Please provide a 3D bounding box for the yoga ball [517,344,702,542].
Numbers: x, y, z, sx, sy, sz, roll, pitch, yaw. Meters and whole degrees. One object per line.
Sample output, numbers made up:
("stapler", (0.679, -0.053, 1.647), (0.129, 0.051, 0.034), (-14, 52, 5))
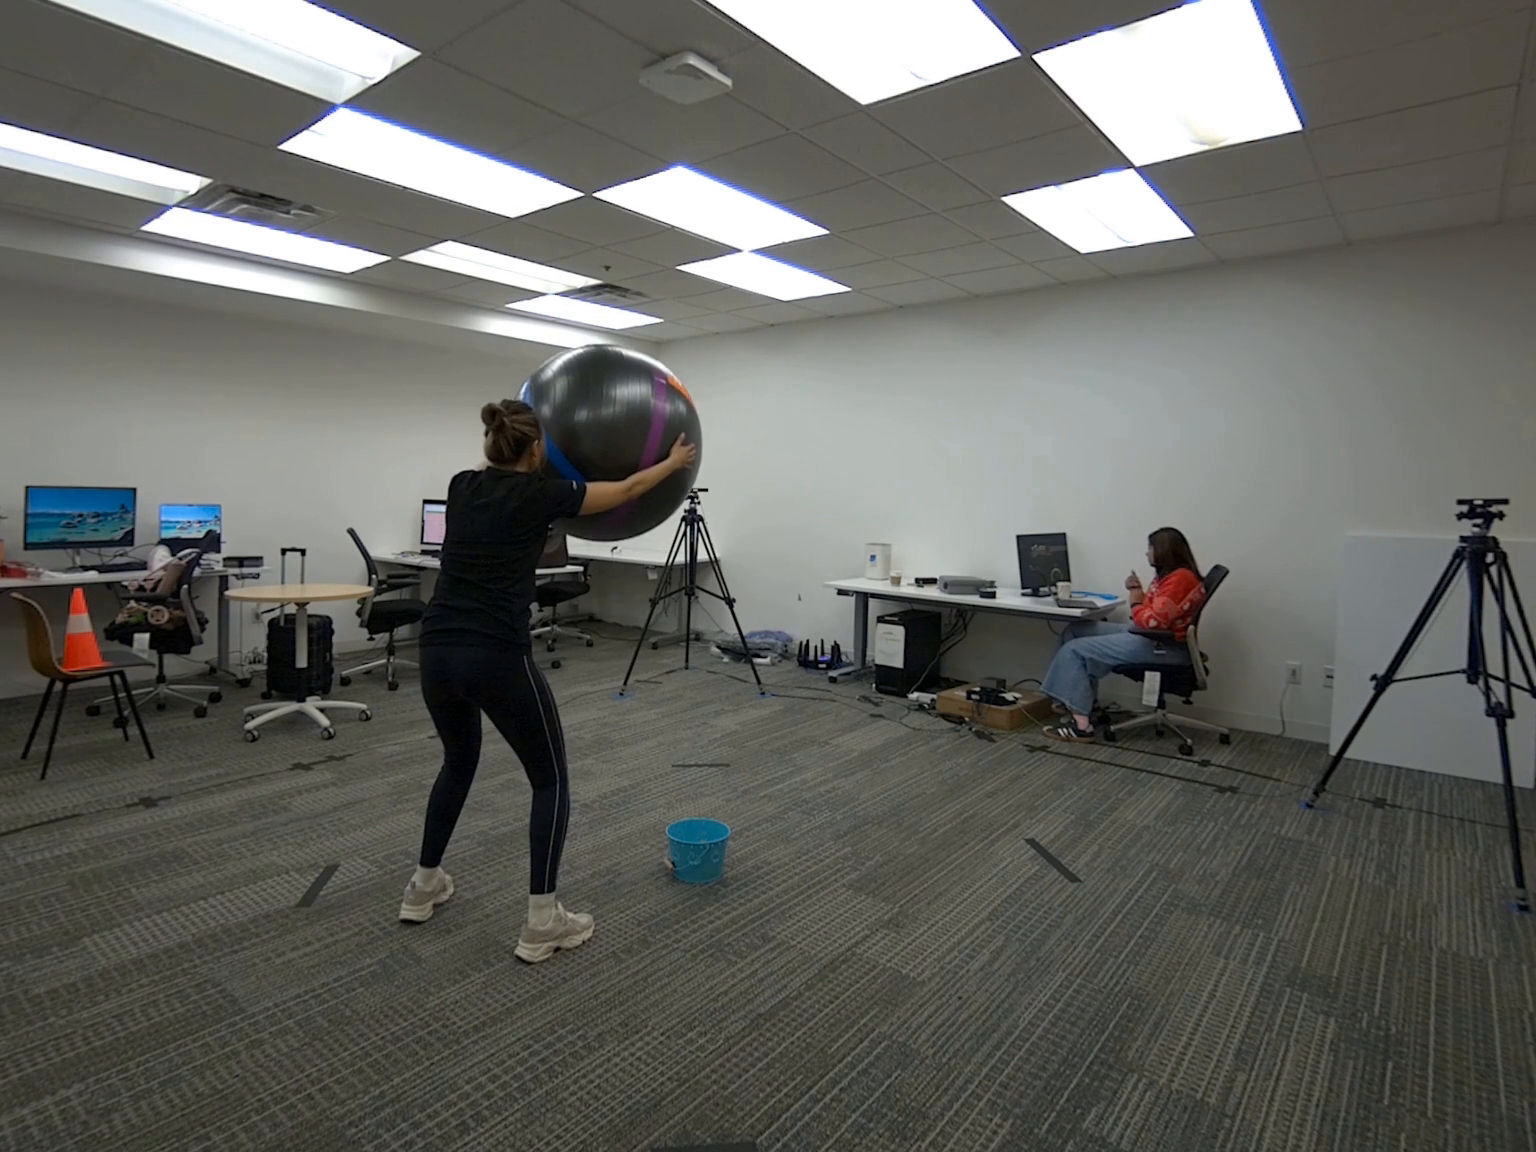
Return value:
("yoga ball", (-0.647, -0.502, 3.281), (0.757, 0.756, 0.762), (1, 4, -2))
